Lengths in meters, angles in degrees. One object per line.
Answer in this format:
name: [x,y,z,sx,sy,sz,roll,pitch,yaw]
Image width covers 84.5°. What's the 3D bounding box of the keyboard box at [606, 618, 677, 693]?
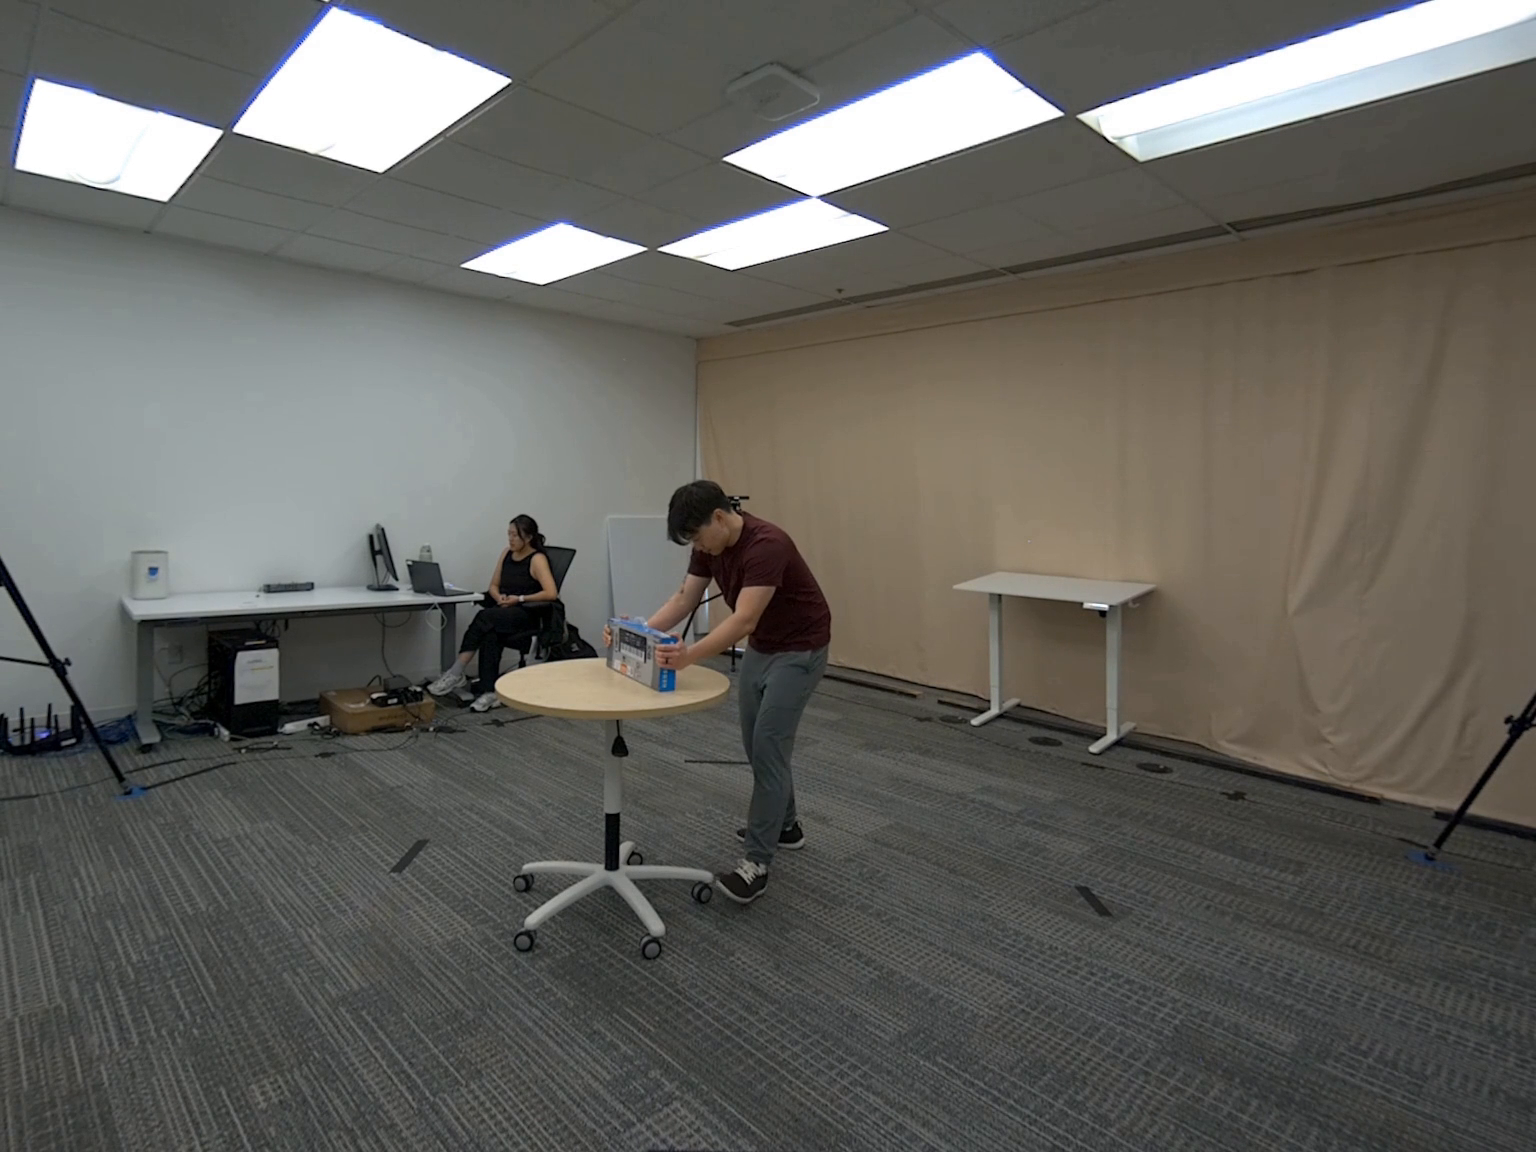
keyboard box: [-0.445,0.264,2.837,0.058,0.175,0.447,0,6,-31]
